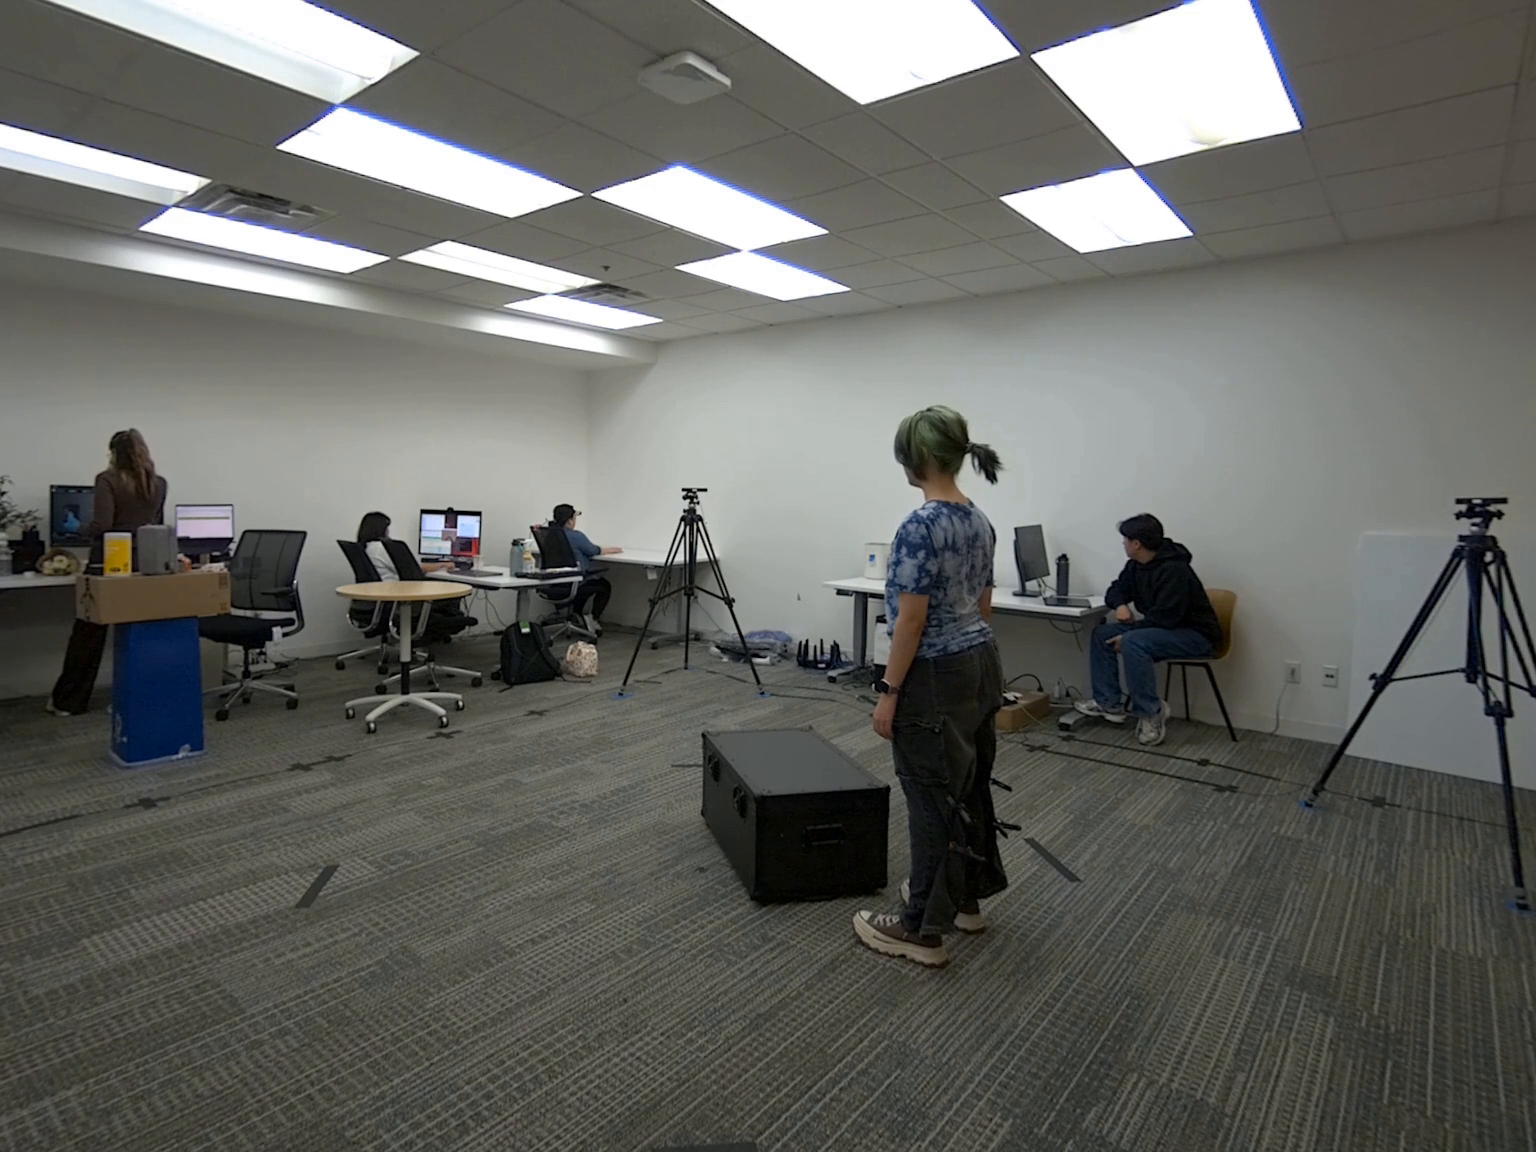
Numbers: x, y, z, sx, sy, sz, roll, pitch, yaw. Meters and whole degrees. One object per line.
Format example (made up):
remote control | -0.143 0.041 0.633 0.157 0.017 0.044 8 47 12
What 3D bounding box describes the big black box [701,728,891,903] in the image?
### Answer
big black box | 0.065 0.872 3.219 0.513 0.395 0.878 0 5 -16
